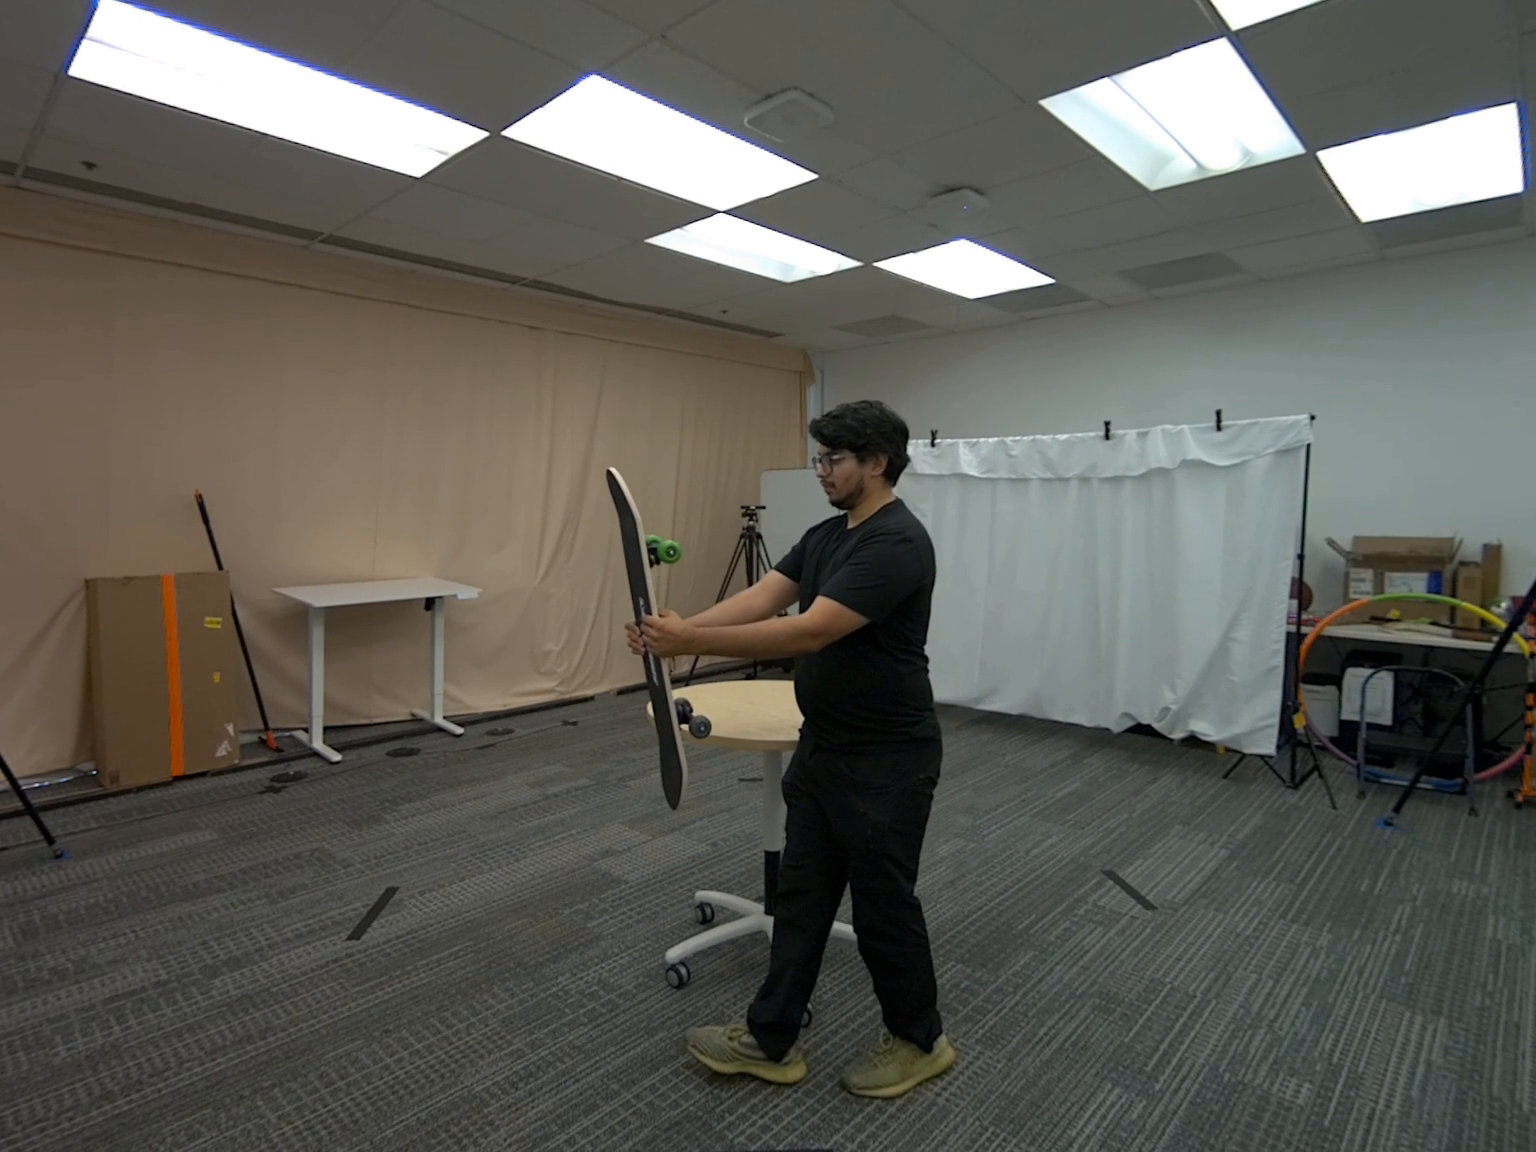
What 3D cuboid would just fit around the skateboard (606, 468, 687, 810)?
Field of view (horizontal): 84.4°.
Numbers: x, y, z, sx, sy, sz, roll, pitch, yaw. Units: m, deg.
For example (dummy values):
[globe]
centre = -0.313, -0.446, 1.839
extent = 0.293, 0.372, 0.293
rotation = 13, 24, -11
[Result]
[skateboard]
centre = -0.236, 0.138, 1.896
extent = 0.108, 0.780, 0.198
rotation = -12, 9, -21
